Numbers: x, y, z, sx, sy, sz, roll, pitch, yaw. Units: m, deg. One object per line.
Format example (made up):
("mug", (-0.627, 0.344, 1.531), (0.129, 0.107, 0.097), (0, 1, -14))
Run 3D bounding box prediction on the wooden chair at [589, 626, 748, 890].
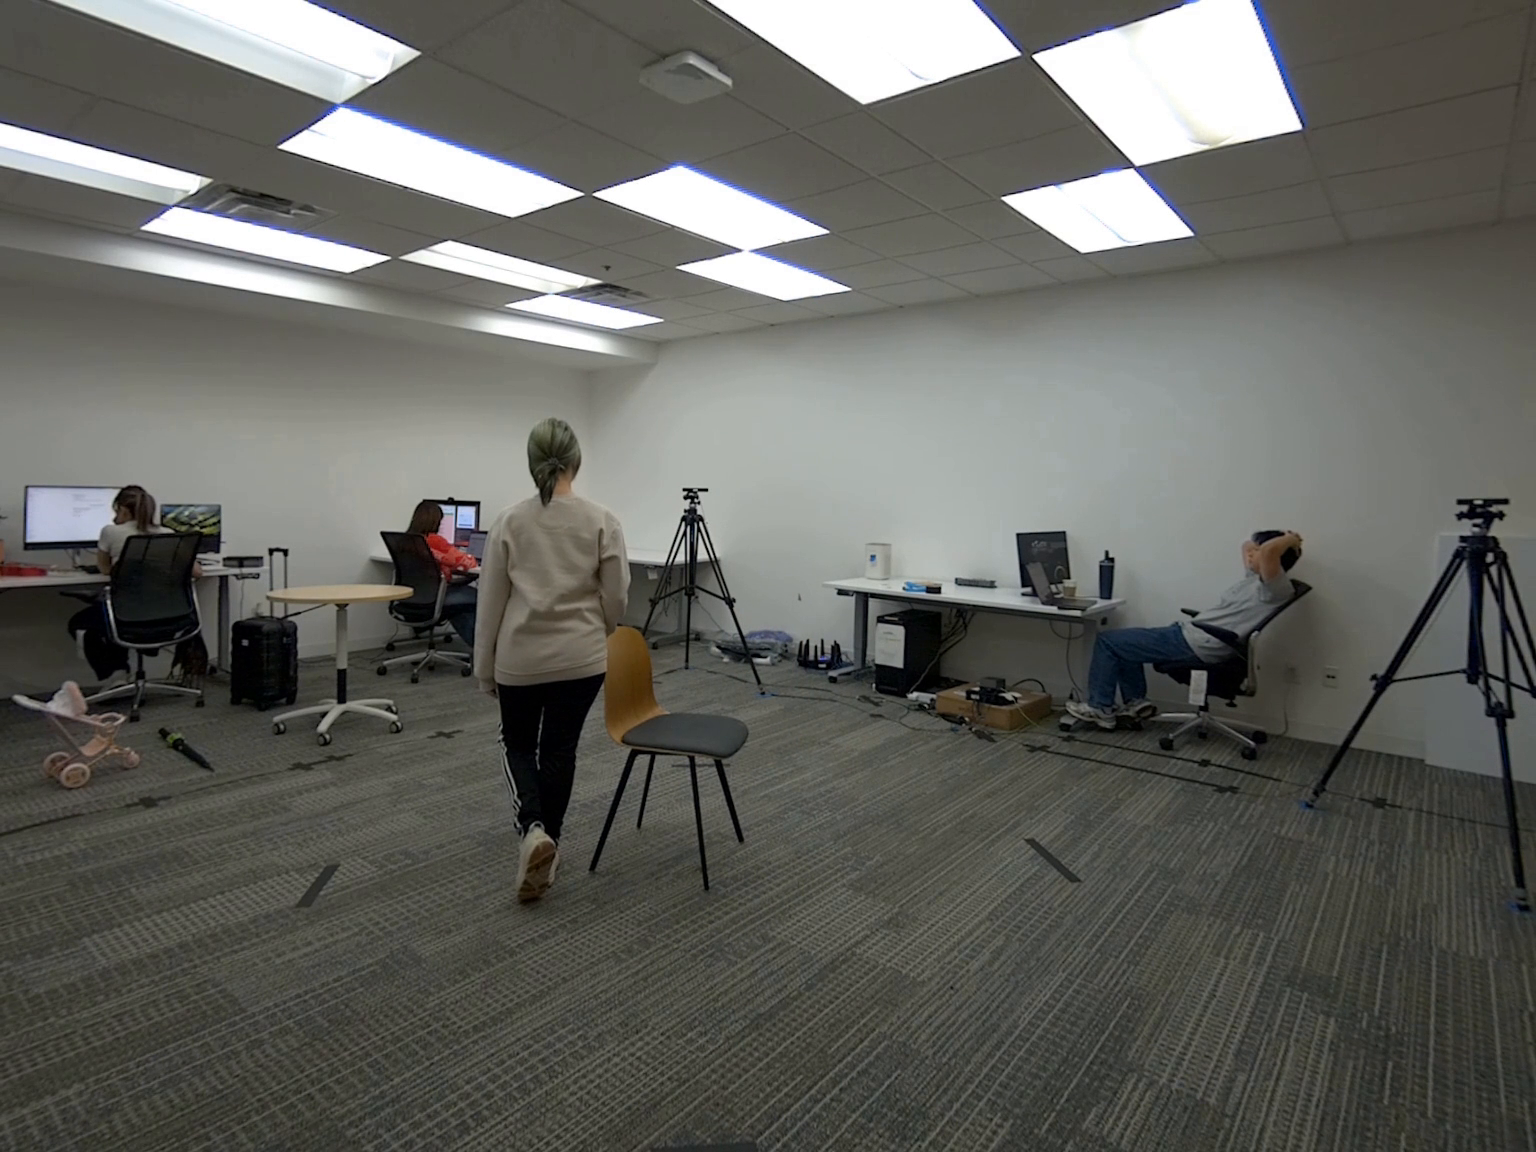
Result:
("wooden chair", (-0.361, 0.632, 3.189), (0.533, 0.876, 0.470), (-2, 2, 17))
